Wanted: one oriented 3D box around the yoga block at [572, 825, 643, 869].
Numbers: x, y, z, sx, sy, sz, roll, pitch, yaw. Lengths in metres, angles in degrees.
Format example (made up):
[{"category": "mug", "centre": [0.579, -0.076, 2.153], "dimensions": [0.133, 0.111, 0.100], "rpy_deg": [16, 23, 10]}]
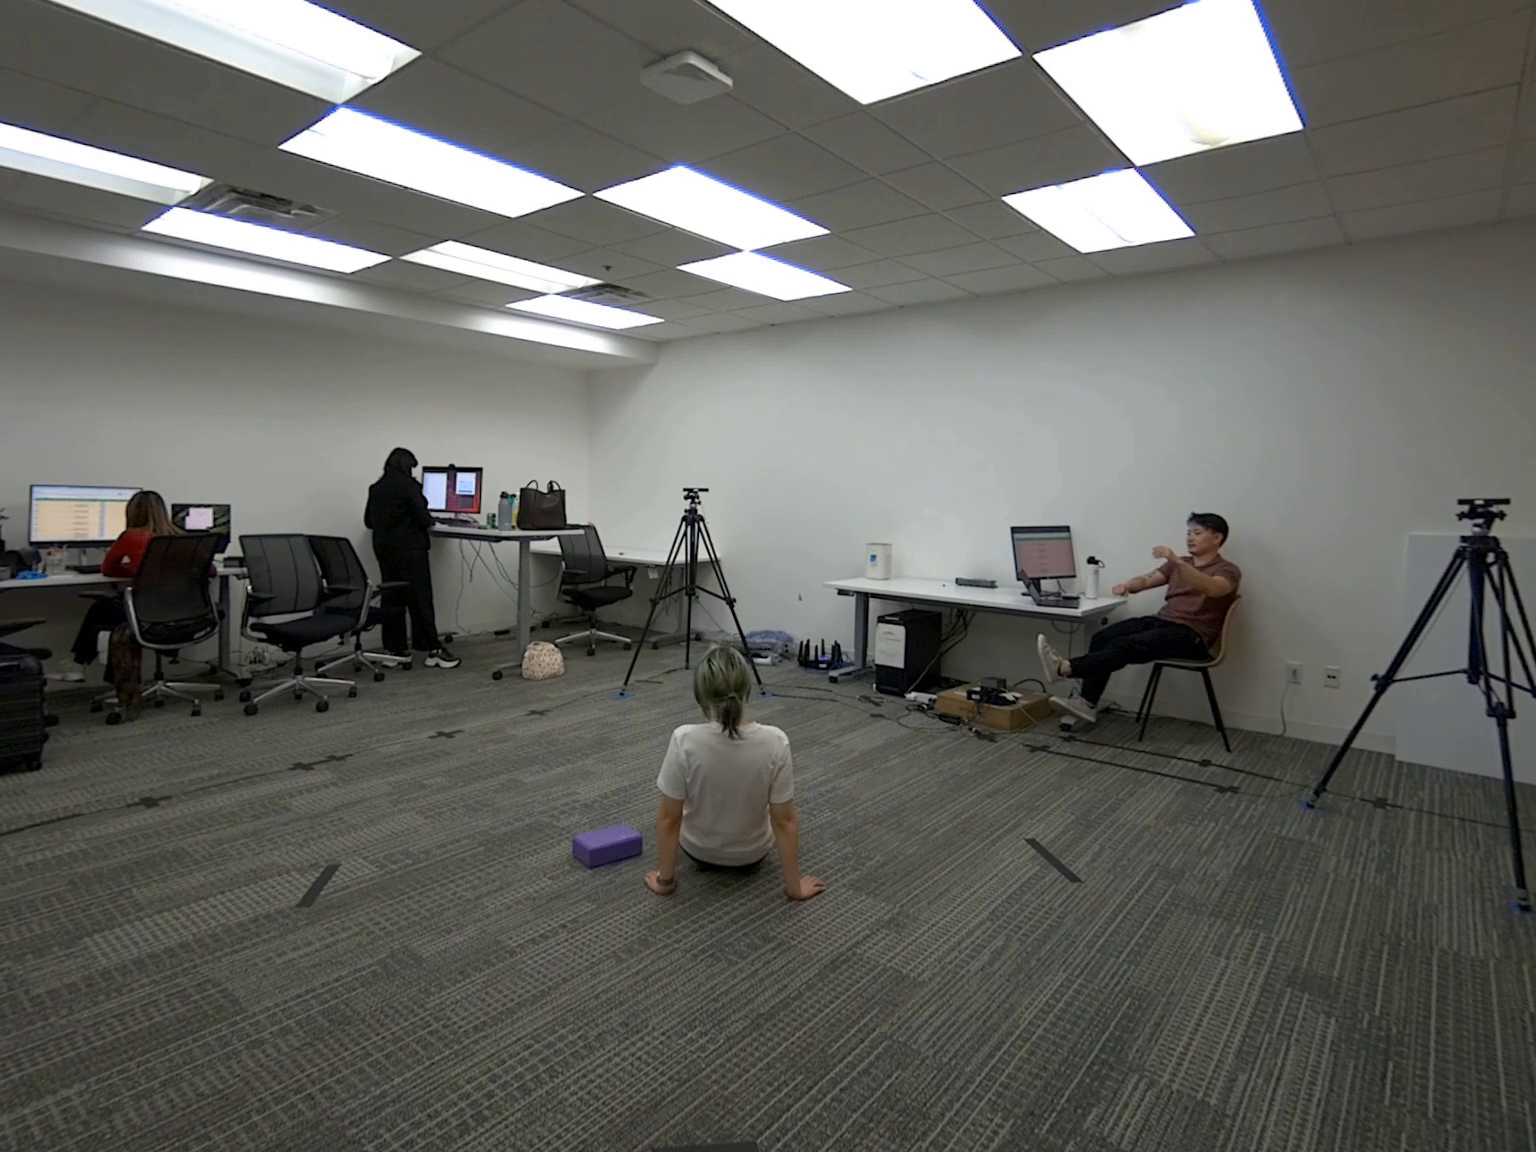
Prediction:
[{"category": "yoga block", "centre": [-0.618, 1.015, 3.220], "dimensions": [0.223, 0.076, 0.154], "rpy_deg": [-4, 7, -38]}]
